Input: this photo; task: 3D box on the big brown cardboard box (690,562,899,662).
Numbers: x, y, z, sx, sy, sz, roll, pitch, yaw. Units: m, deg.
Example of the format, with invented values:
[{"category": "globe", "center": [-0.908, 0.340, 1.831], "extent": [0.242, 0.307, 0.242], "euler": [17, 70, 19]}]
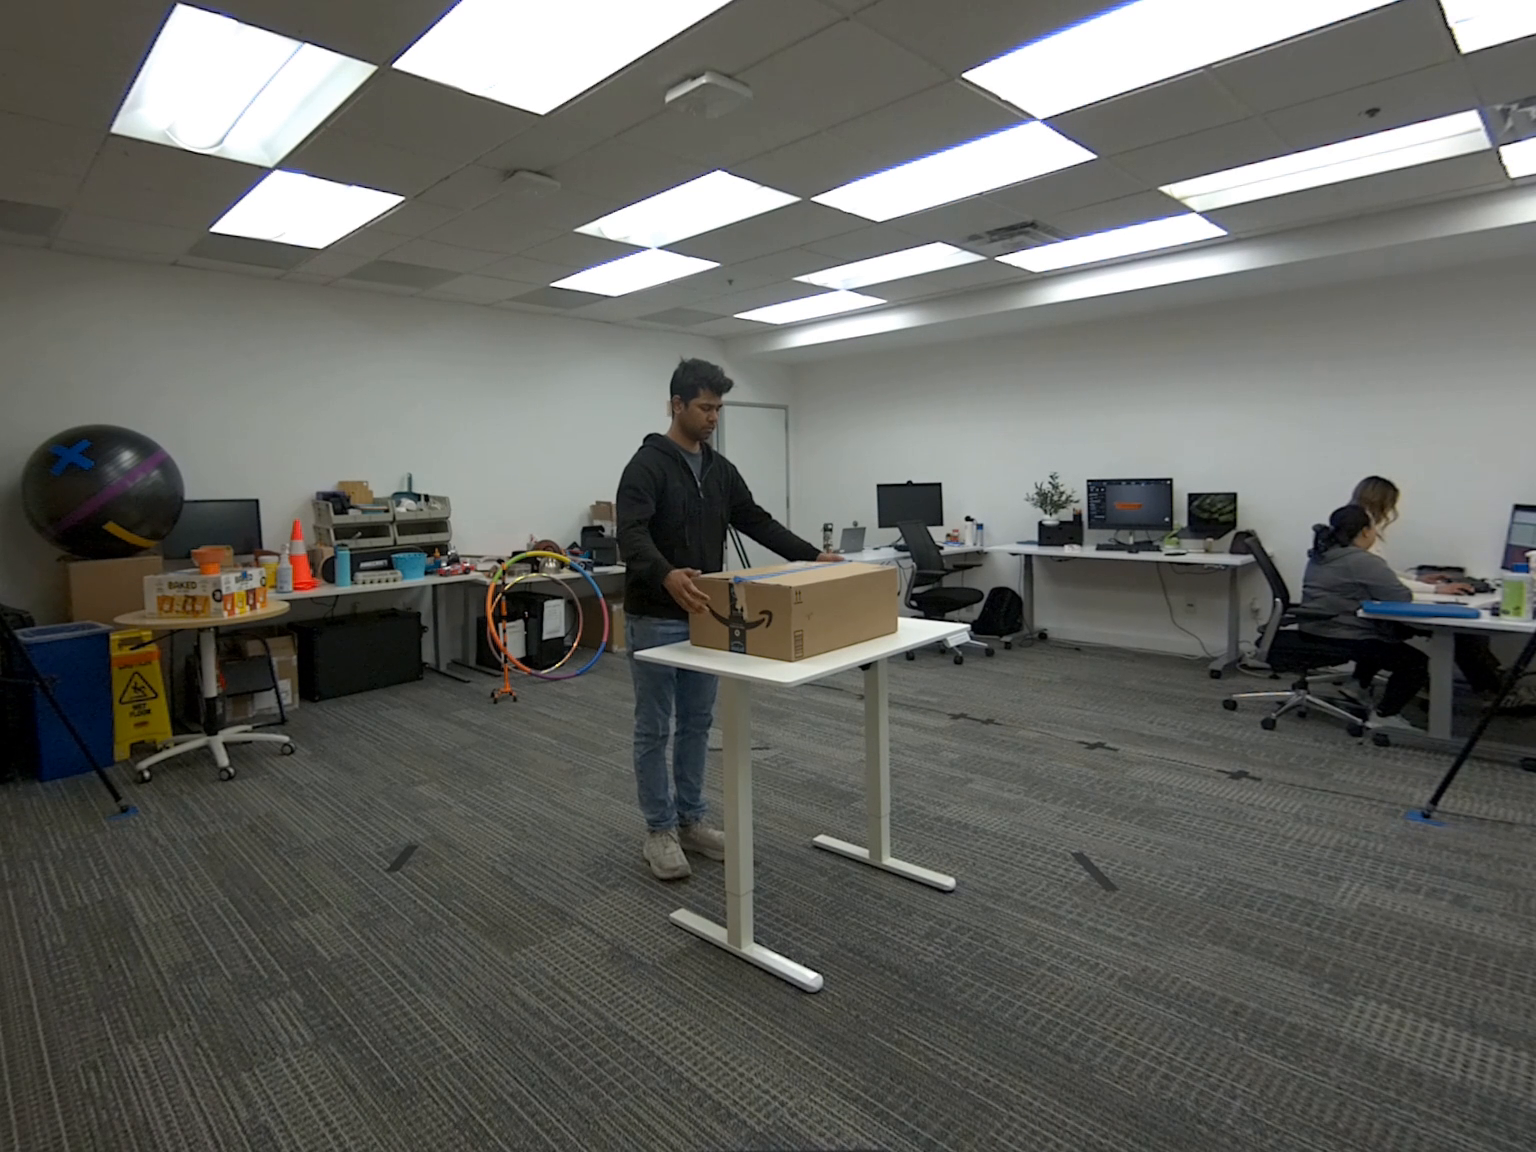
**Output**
[{"category": "big brown cardboard box", "center": [0.085, 0.091, 2.745], "extent": [0.430, 0.232, 0.574], "euler": [4, 9, 41]}]
